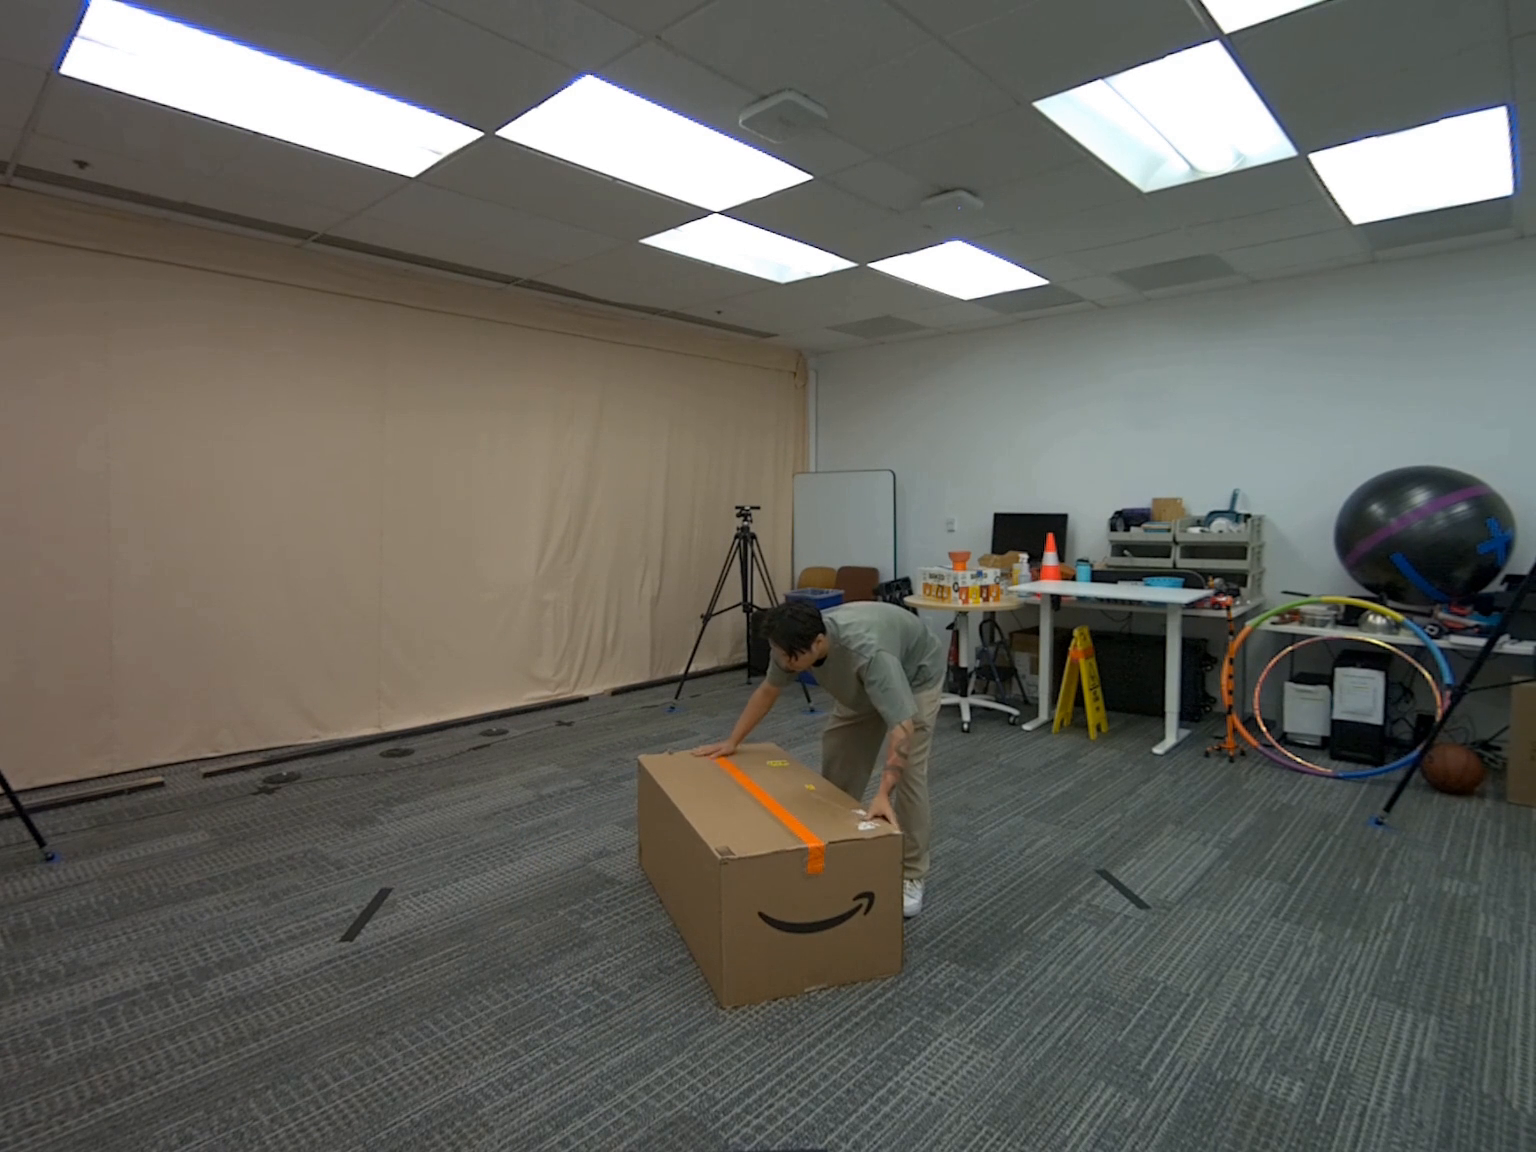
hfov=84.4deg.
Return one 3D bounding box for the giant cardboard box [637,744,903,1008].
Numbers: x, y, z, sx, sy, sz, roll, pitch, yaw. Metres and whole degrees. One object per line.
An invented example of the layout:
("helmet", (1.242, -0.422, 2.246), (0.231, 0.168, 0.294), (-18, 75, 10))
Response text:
("giant cardboard box", (-0.051, 0.933, 2.887), (0.566, 0.425, 1.049), (-2, 5, -21))
